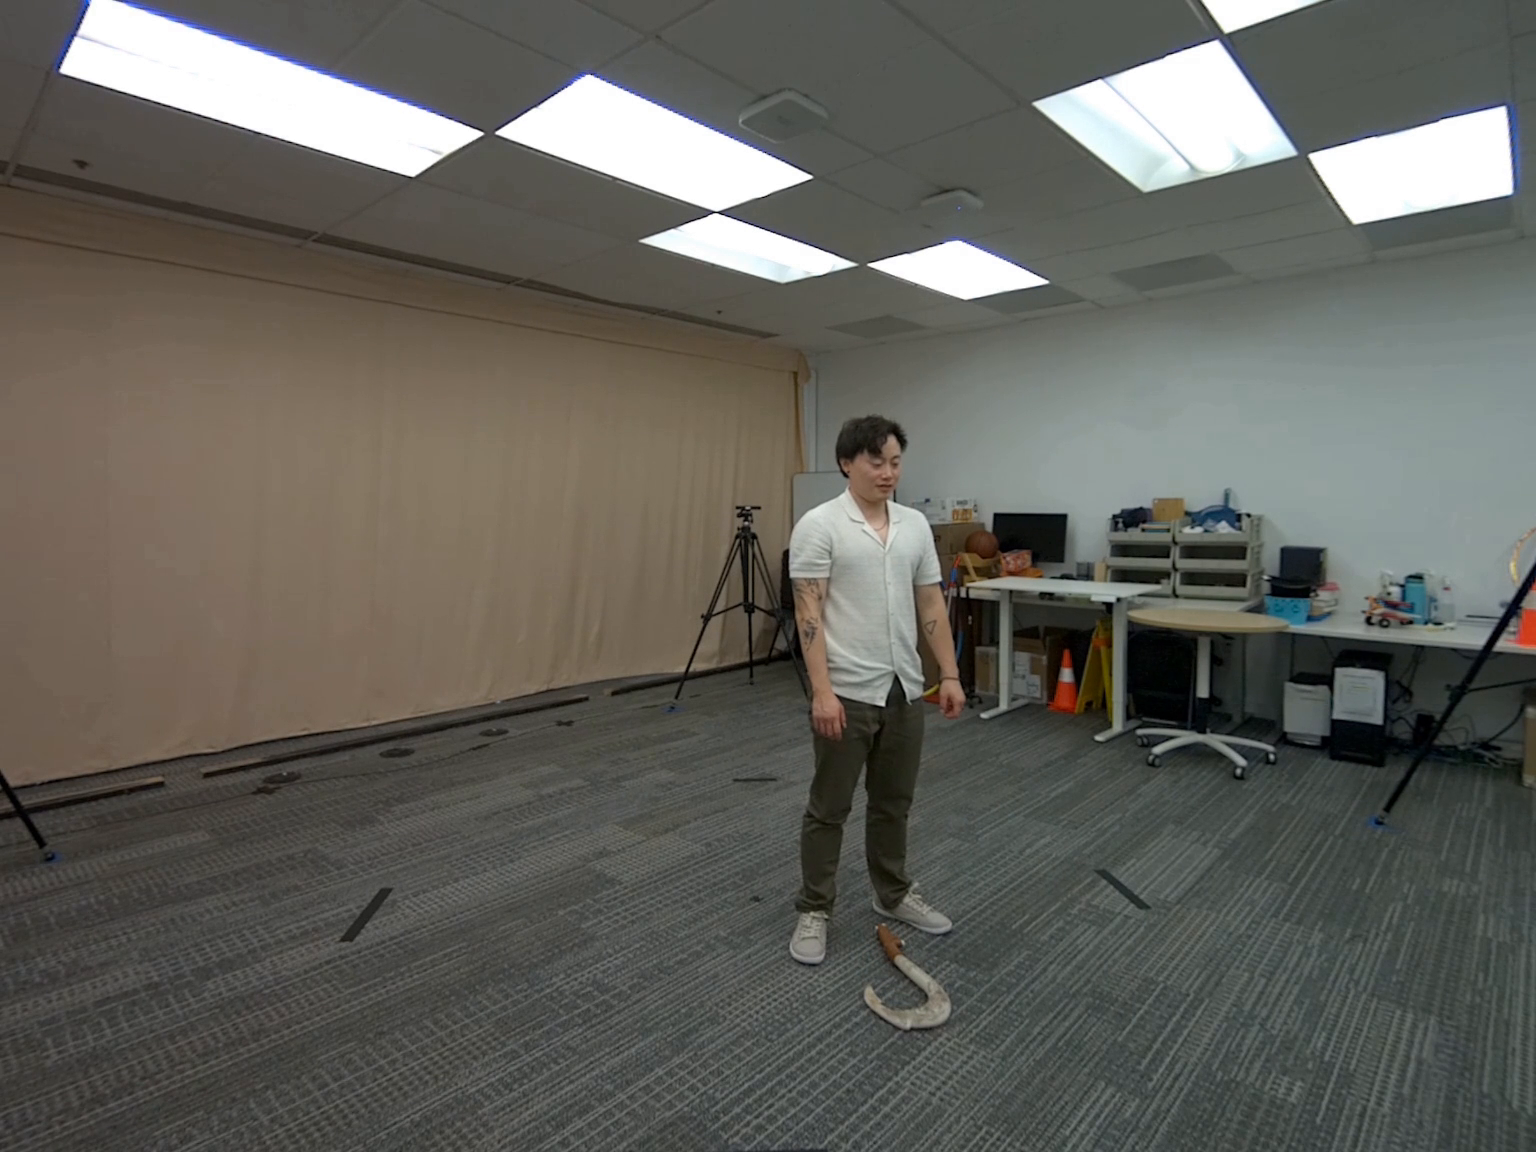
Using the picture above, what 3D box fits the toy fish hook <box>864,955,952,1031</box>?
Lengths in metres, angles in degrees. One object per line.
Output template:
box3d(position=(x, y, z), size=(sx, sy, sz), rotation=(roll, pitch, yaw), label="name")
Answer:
box3d(position=(0.364, 1.159, 2.476), size=(0.222, 0.048, 0.512), rotation=(0, 4, -10), label="toy fish hook")
